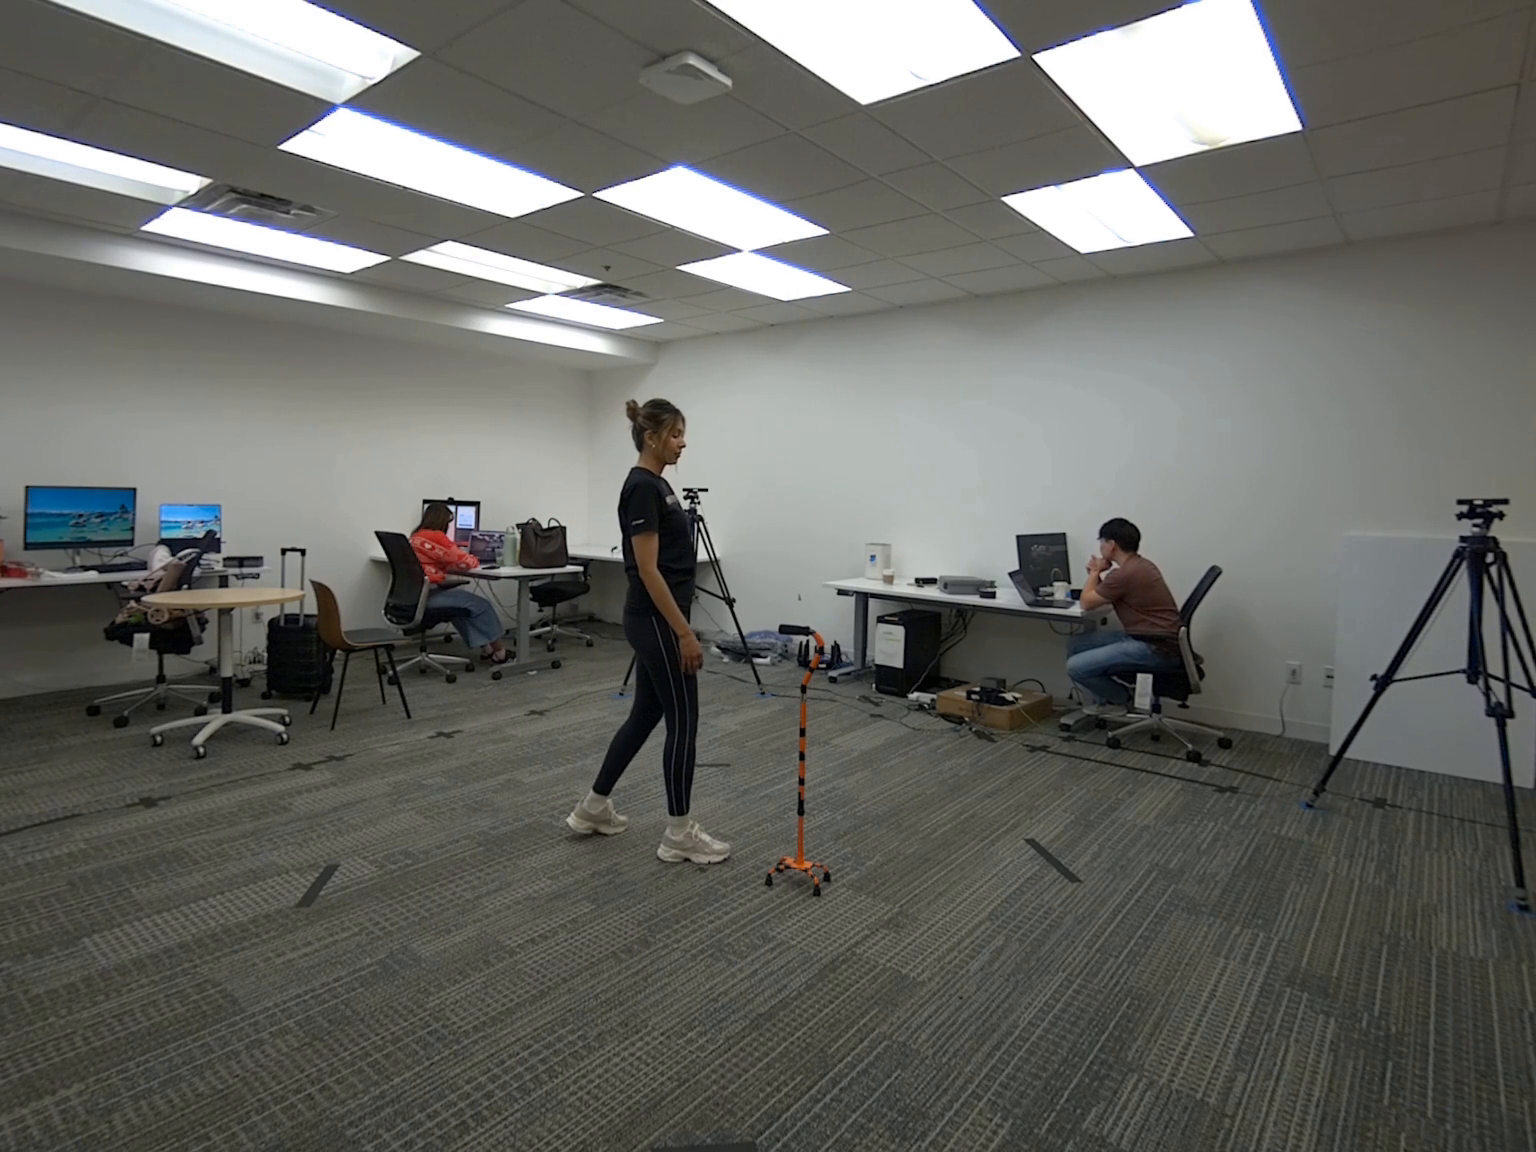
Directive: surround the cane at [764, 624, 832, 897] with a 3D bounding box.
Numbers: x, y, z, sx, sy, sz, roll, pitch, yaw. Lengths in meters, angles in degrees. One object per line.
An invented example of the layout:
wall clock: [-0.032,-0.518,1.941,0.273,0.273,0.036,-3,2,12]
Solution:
cane: [0.110,0.633,2.998,0.211,0.905,0.149,3,3,19]
